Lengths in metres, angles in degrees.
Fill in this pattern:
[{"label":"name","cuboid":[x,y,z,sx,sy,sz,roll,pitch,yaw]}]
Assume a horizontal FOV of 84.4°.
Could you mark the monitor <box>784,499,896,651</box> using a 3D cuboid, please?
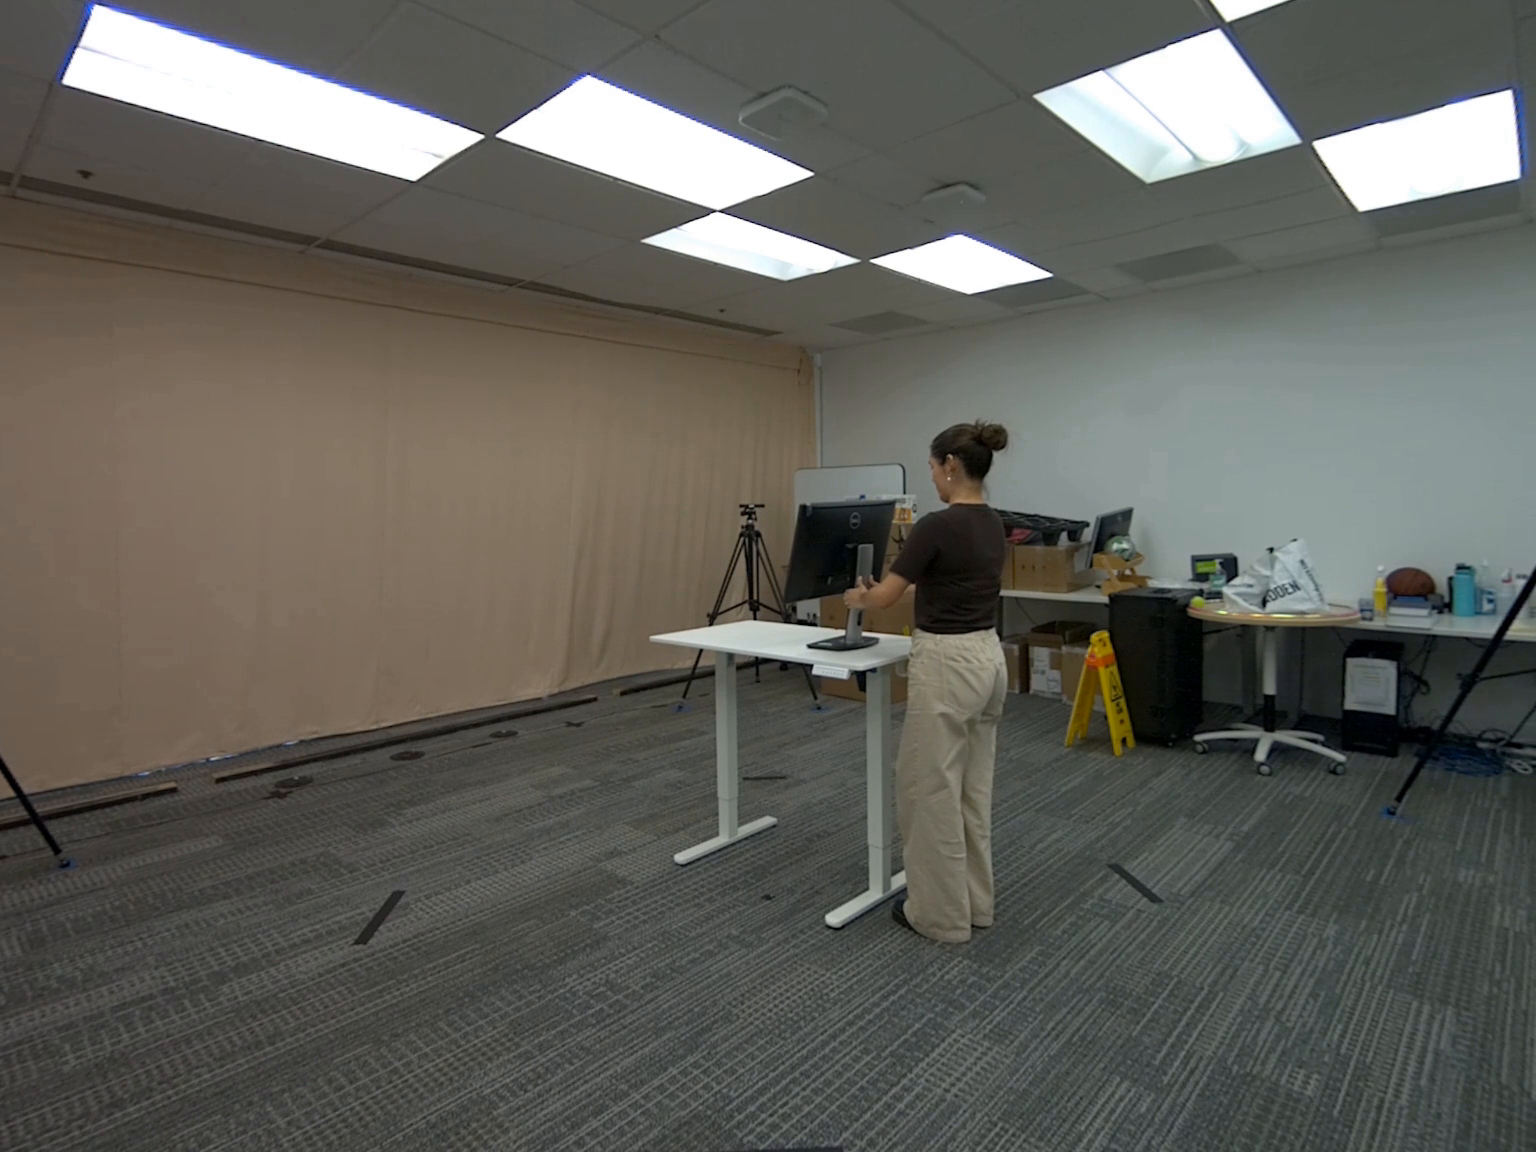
[{"label":"monitor","cuboid":[0.290,-0.004,3.001,0.193,0.521,0.523,4,7,43]}]
